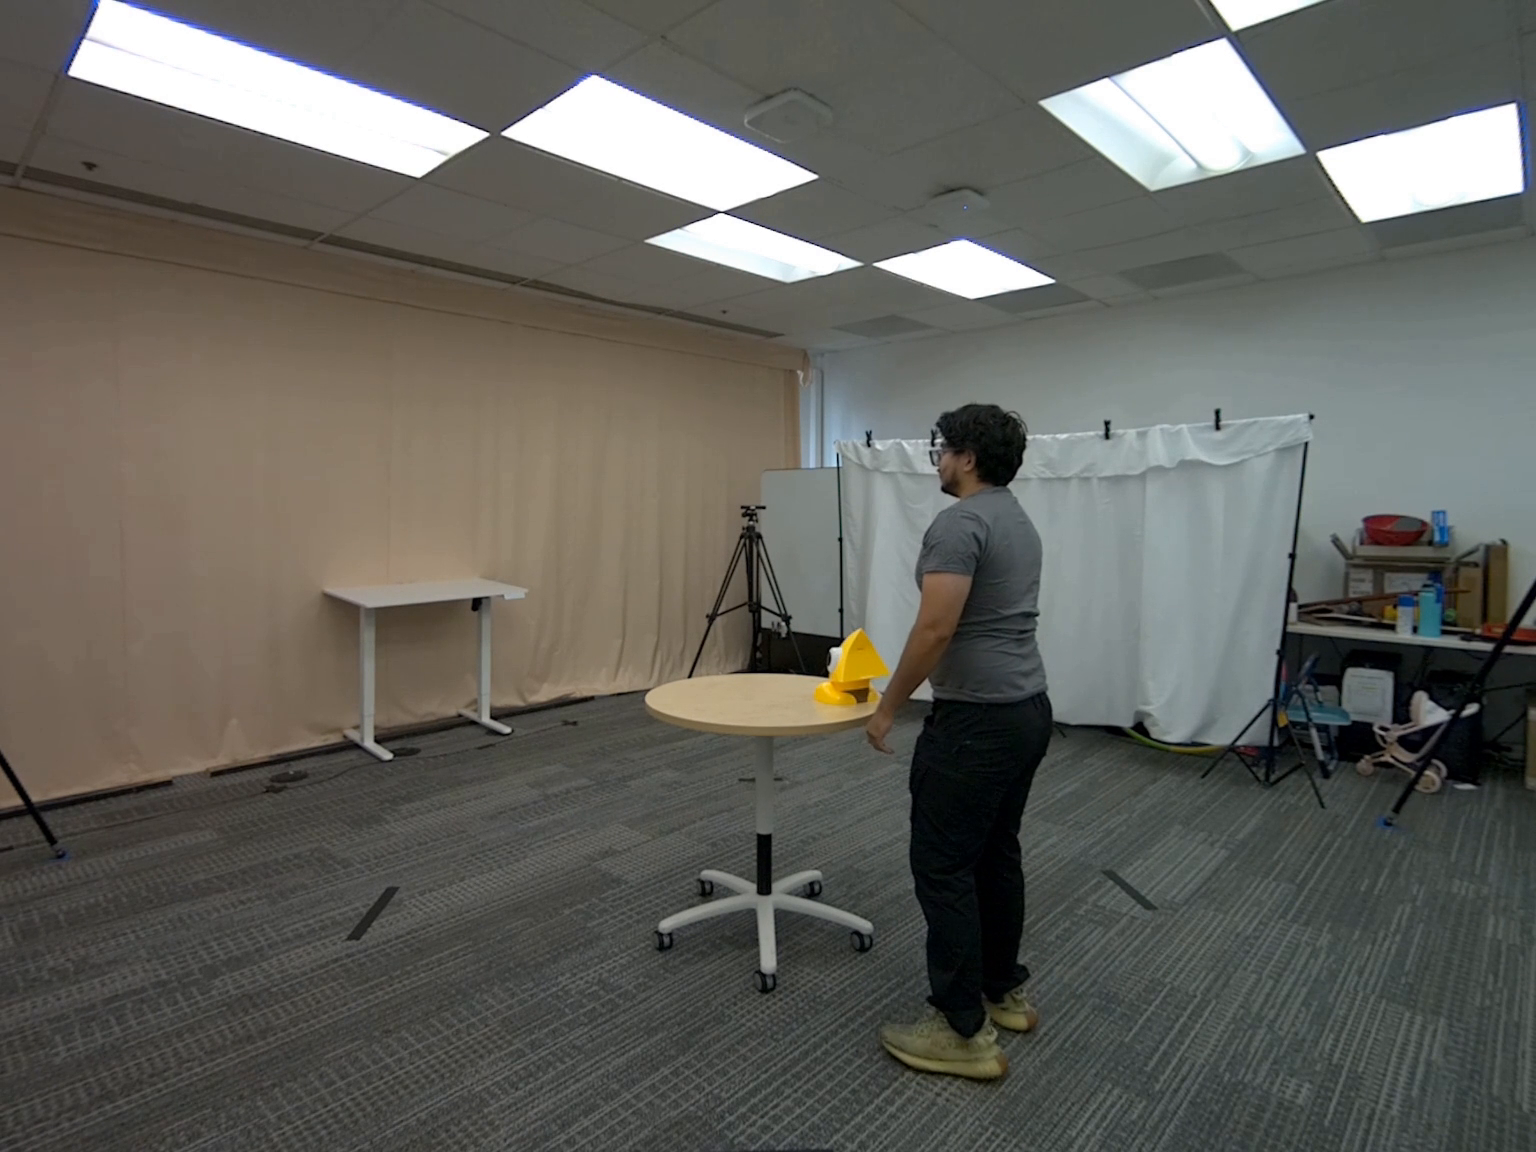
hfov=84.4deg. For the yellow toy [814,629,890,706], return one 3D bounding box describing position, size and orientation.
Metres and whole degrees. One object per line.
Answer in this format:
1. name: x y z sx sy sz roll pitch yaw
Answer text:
1. yellow toy: 0.257 0.276 2.654 0.199 0.230 0.199 -2 3 -34
